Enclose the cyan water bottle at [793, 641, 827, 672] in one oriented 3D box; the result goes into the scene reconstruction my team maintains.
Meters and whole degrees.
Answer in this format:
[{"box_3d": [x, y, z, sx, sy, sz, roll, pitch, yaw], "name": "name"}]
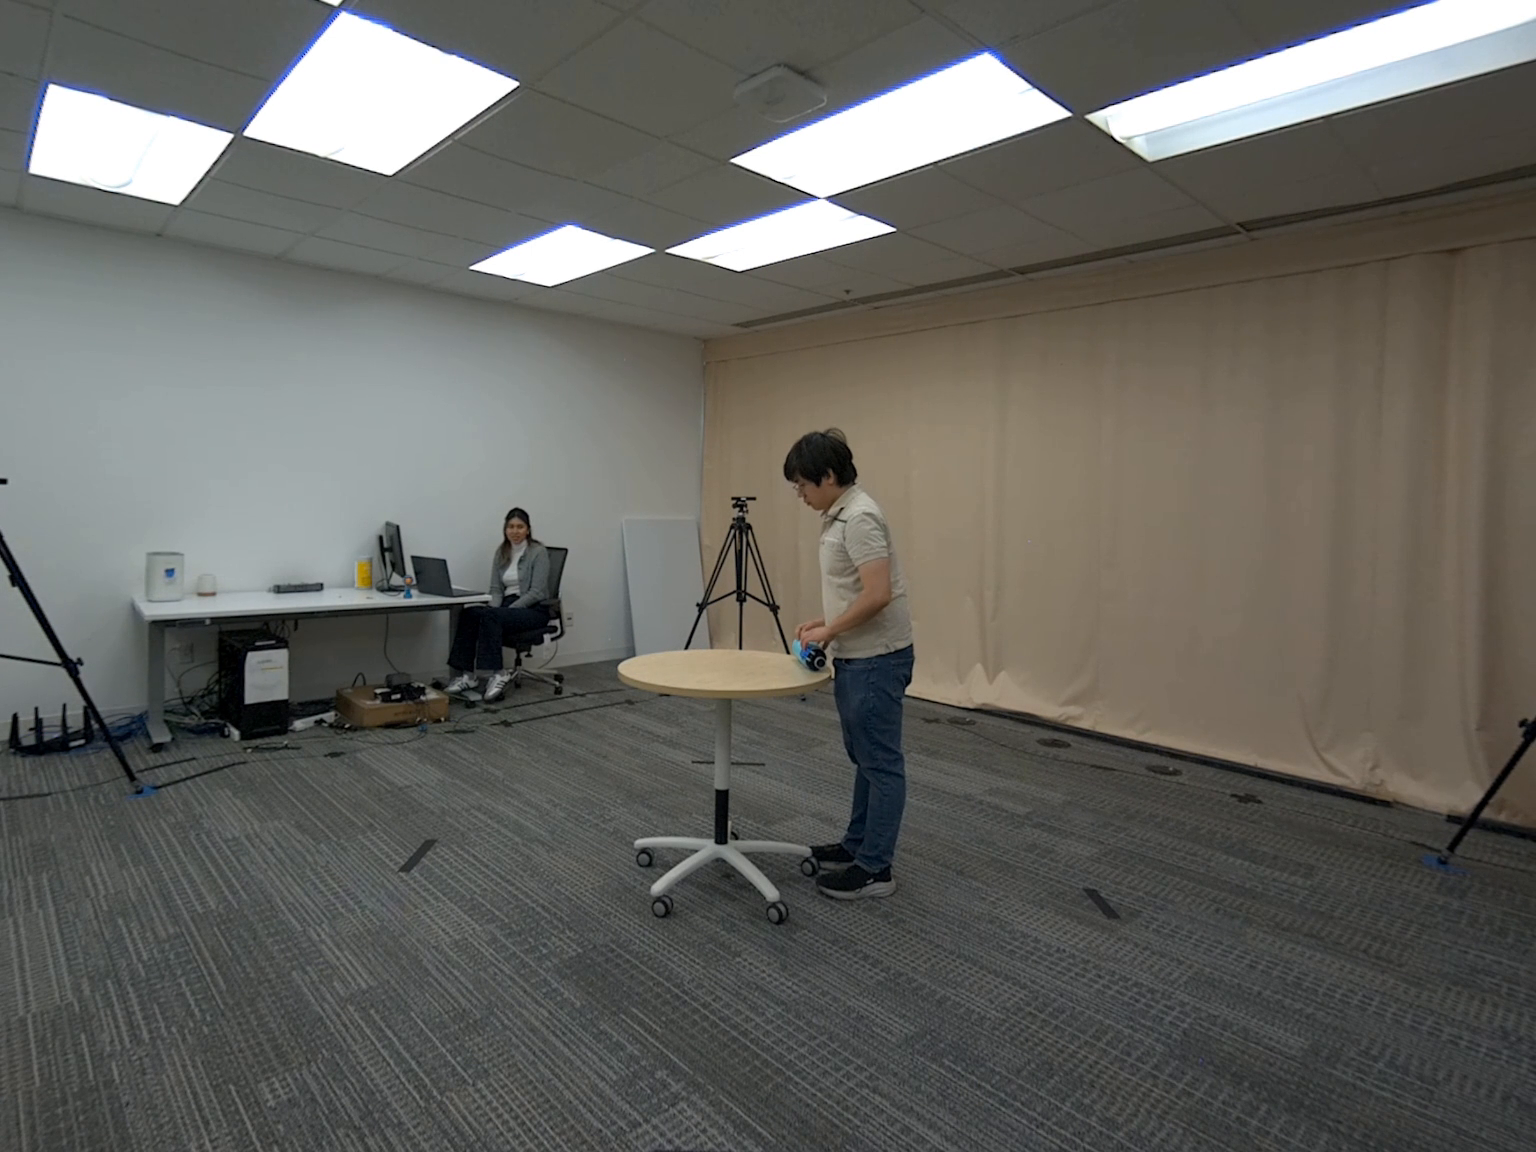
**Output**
[{"box_3d": [0.146, 0.286, 3.093, 0.092, 0.092, 0.285, 1, 5, -5], "name": "cyan water bottle"}]
